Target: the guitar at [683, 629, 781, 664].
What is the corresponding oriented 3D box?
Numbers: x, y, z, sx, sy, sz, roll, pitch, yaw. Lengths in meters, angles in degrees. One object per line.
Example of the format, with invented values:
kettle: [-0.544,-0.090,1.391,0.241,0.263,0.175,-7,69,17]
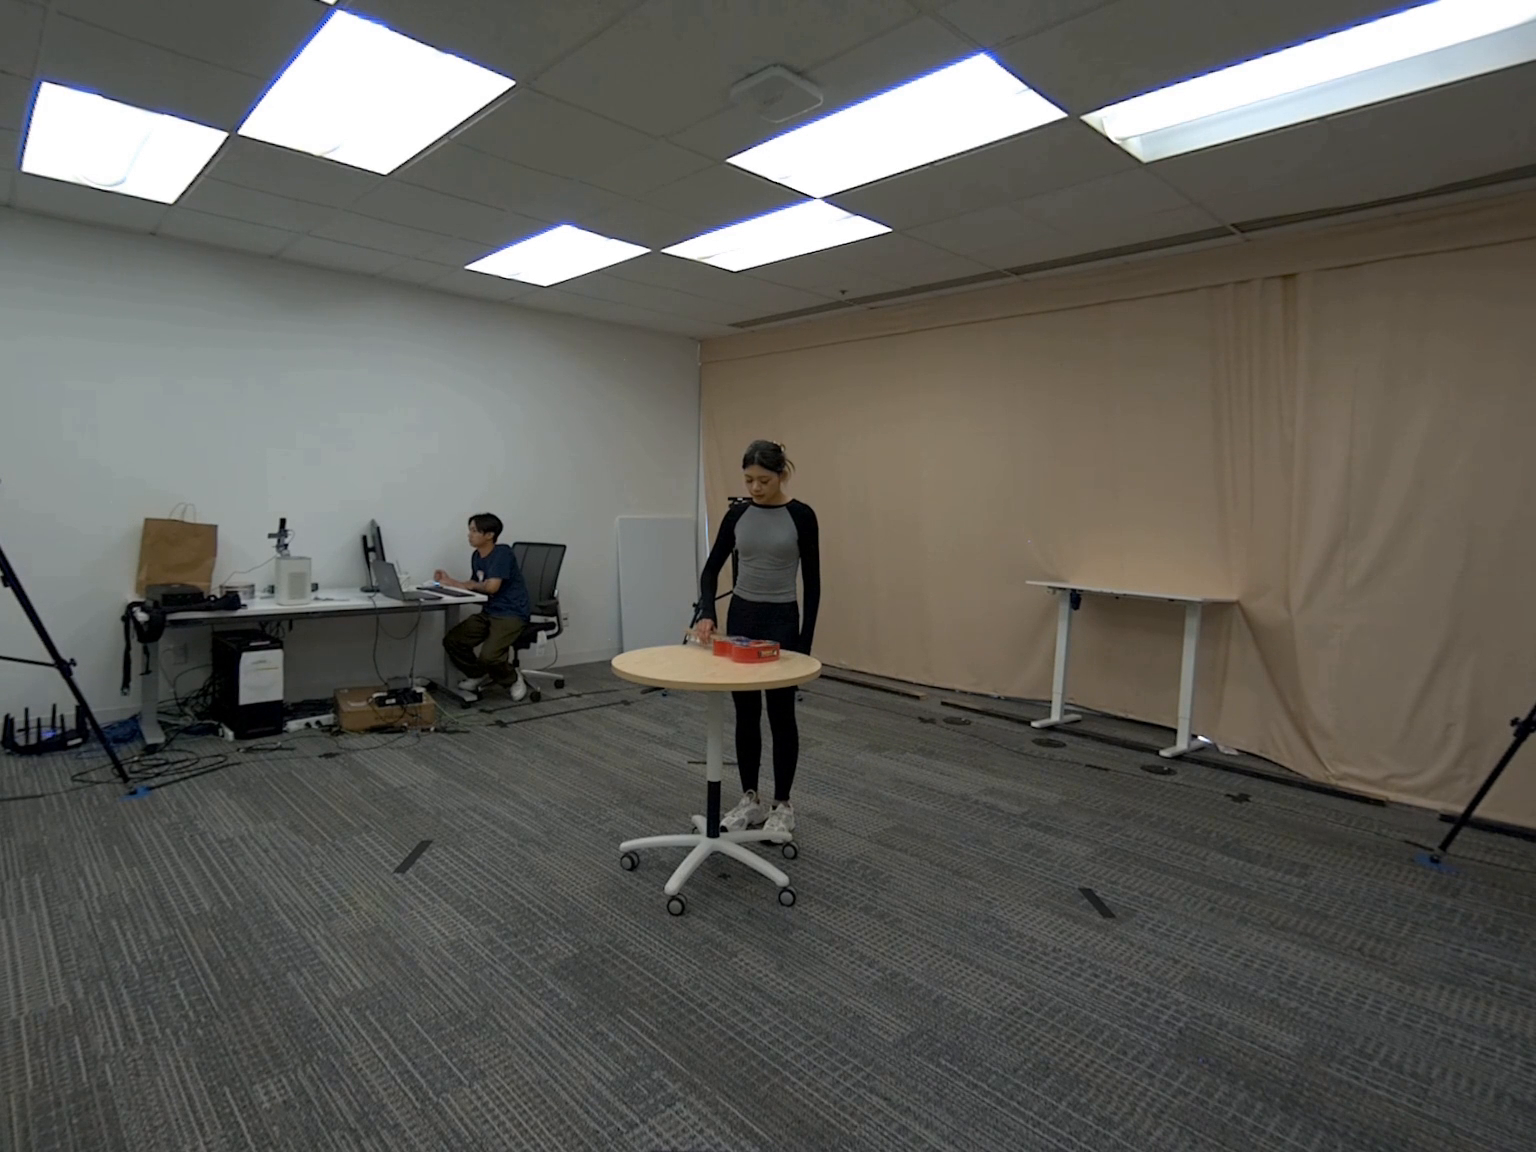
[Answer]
guitar: [-0.152,0.267,3.303,0.189,0.070,0.509,-2,5,-31]
